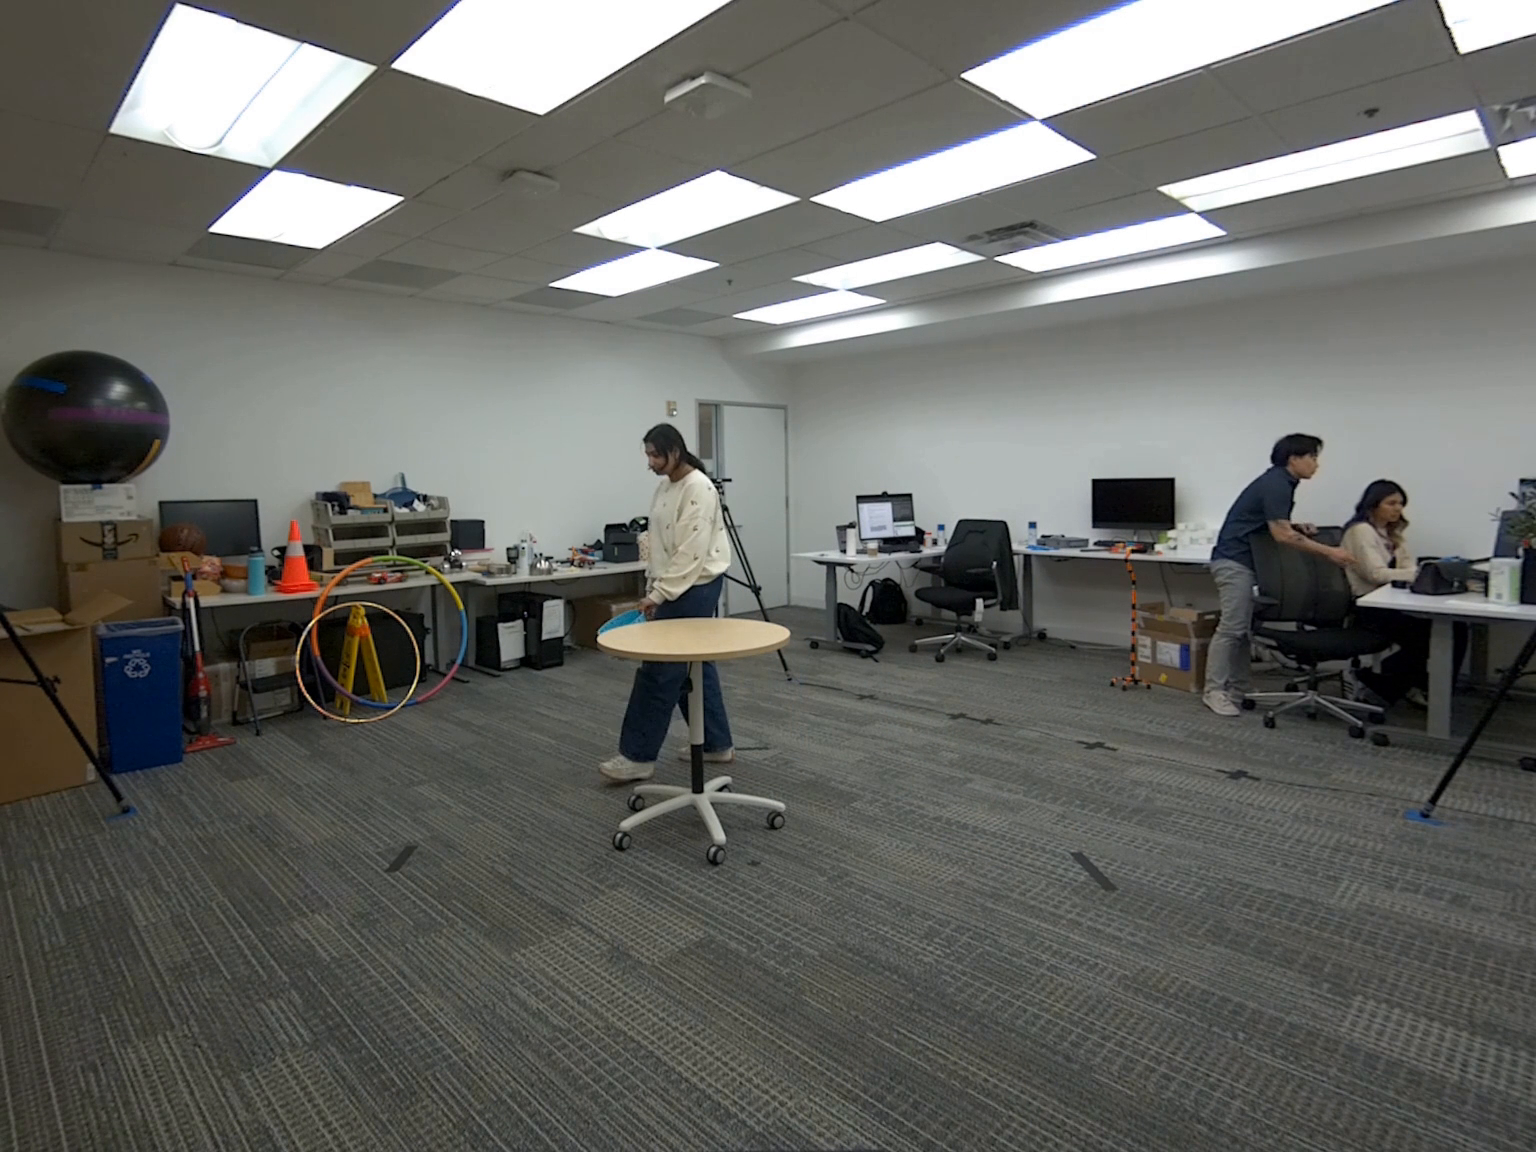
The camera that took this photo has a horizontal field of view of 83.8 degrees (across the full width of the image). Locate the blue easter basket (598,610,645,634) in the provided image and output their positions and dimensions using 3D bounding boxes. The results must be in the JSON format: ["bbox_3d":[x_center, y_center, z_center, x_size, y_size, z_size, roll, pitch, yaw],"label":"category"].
[{"bbox_3d":[-0.649,0.284,3.898,0.244,0.153,0.247,-23,15,4],"label":"blue easter basket"}]
